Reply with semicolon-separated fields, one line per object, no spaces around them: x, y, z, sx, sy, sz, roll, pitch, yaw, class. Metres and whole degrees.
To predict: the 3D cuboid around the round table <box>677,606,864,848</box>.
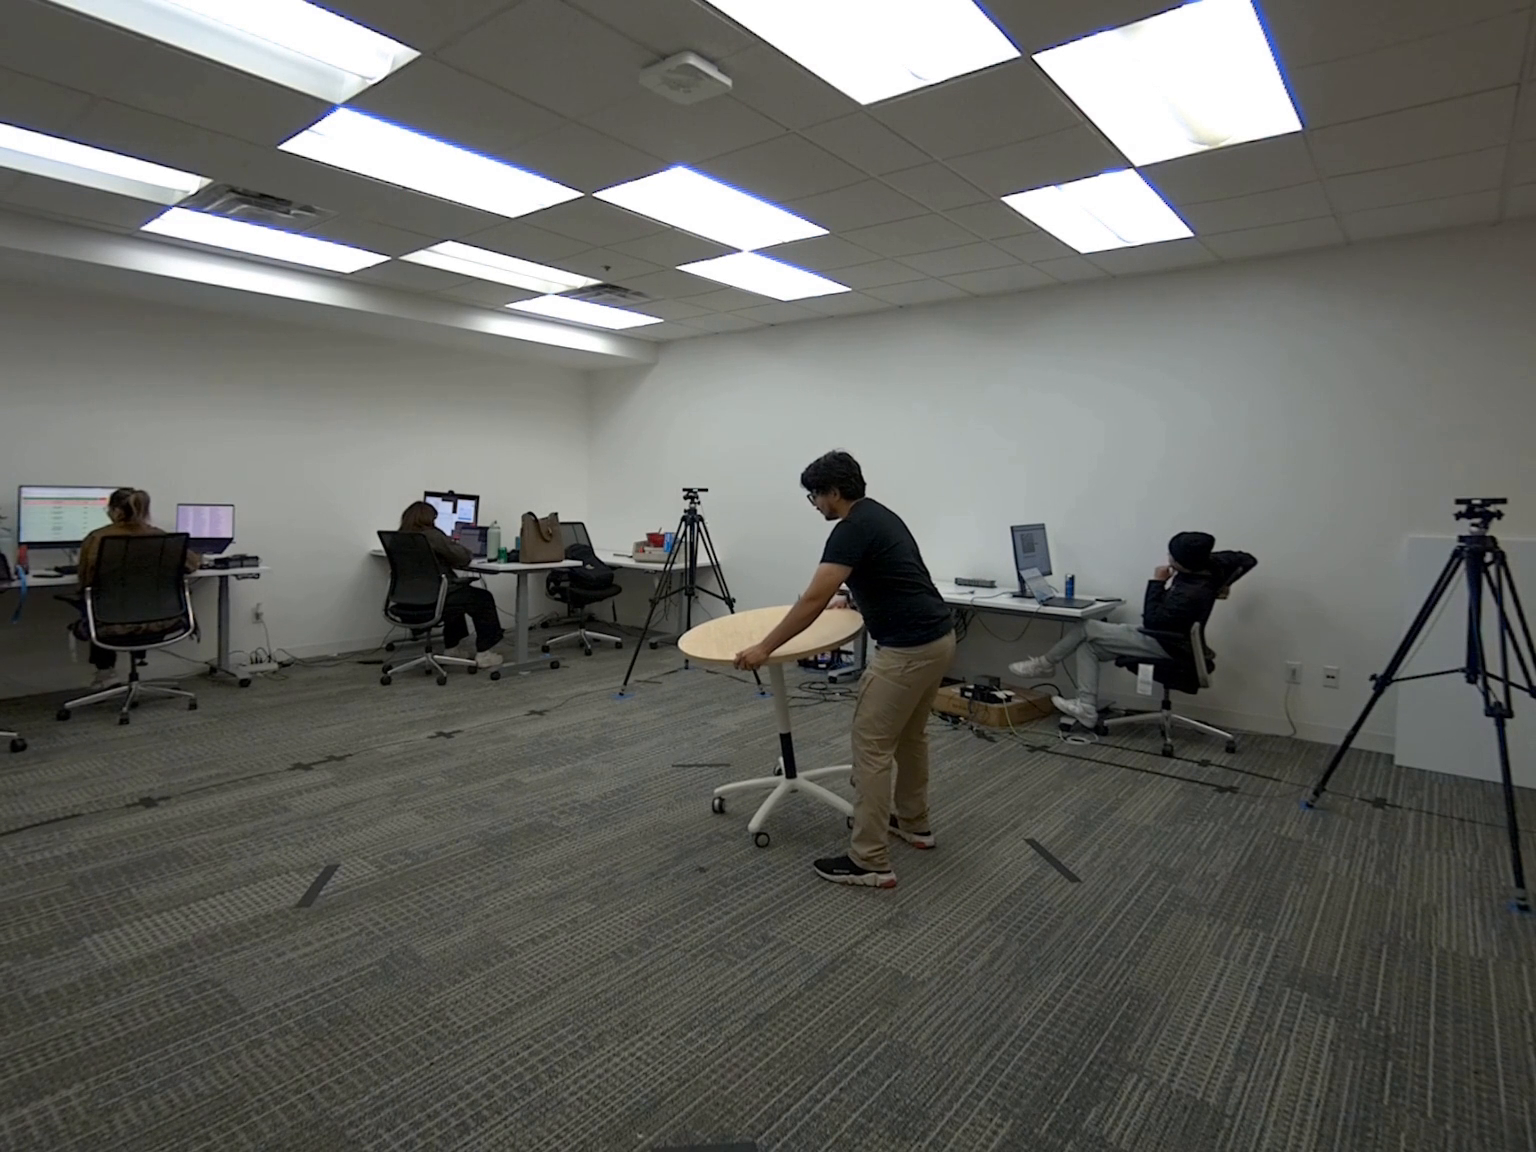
0.043;0.594;3.558;0.785;0.779;0.792;-8;9;-1;round table
